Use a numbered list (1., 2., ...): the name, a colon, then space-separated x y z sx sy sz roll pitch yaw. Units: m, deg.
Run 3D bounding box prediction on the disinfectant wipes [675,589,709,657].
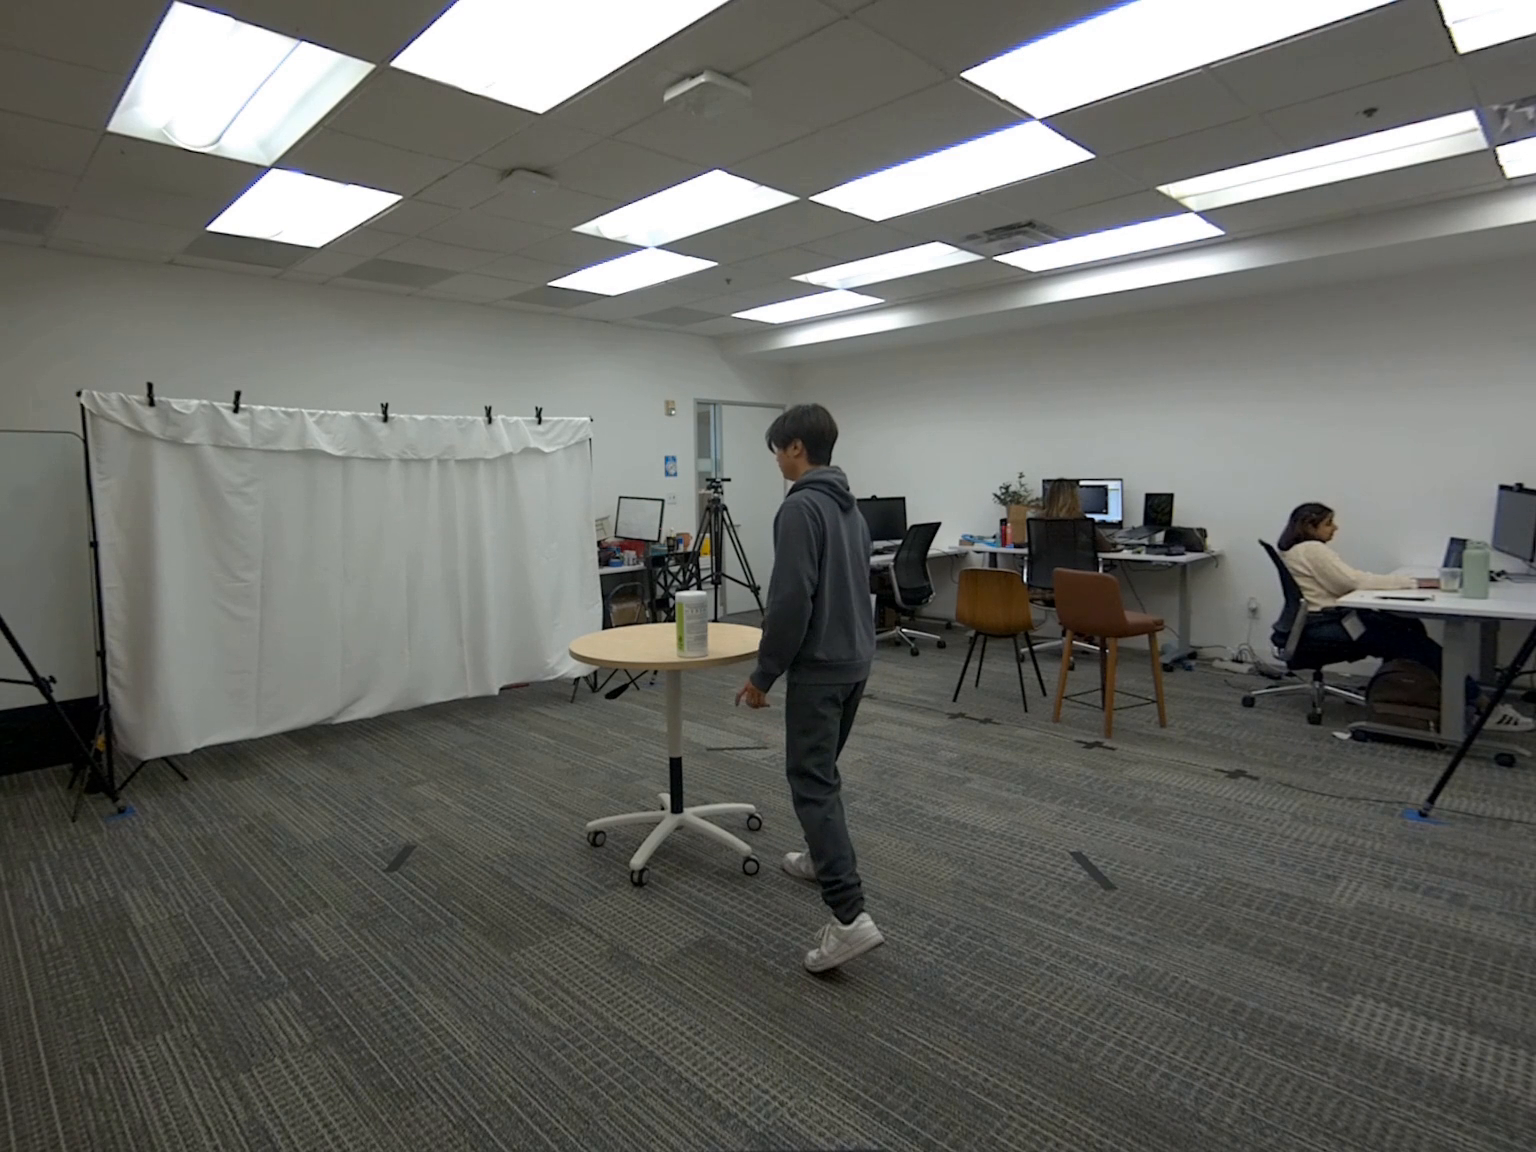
1. disinfectant wipes: -0.250 0.159 2.904 0.118 0.216 0.118 -3 6 -1
